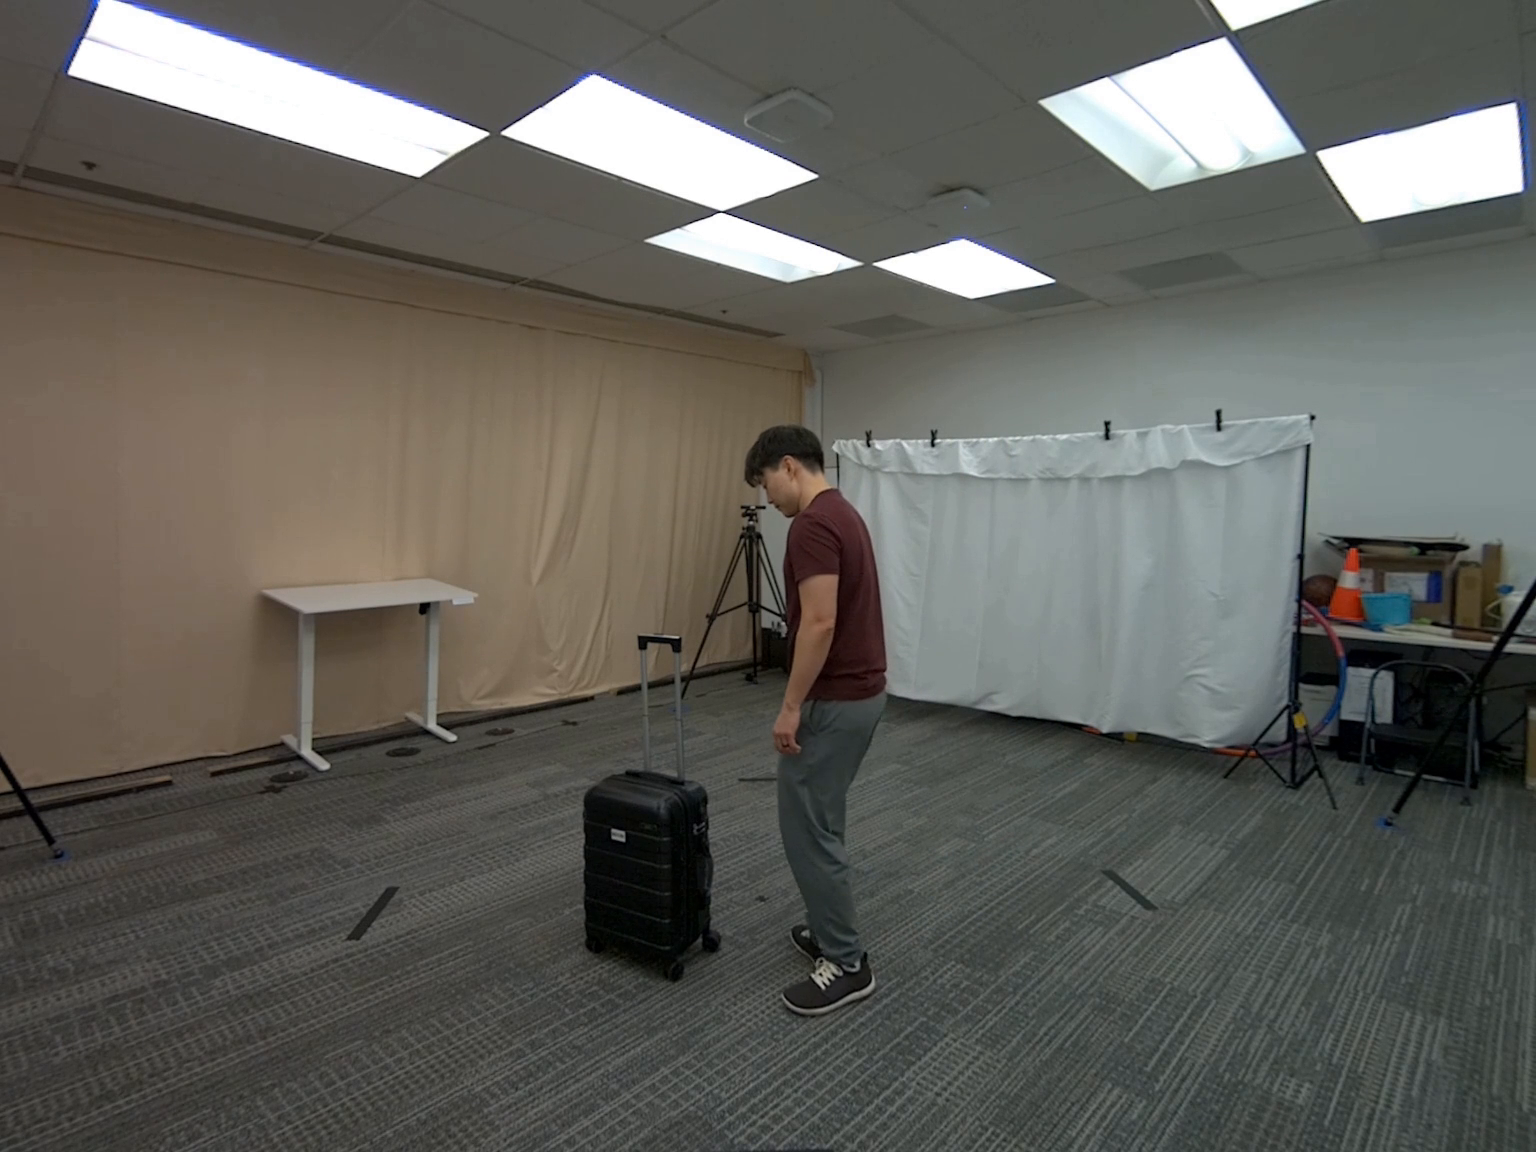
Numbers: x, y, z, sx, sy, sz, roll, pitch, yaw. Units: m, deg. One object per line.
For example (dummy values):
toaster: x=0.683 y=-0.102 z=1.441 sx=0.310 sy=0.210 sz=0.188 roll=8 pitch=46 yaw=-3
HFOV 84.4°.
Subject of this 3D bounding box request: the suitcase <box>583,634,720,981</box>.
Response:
suitcase: x=-0.375 y=0.703 z=2.602 sx=0.395 sy=0.975 sz=0.250 roll=2 pitch=6 yaw=30
